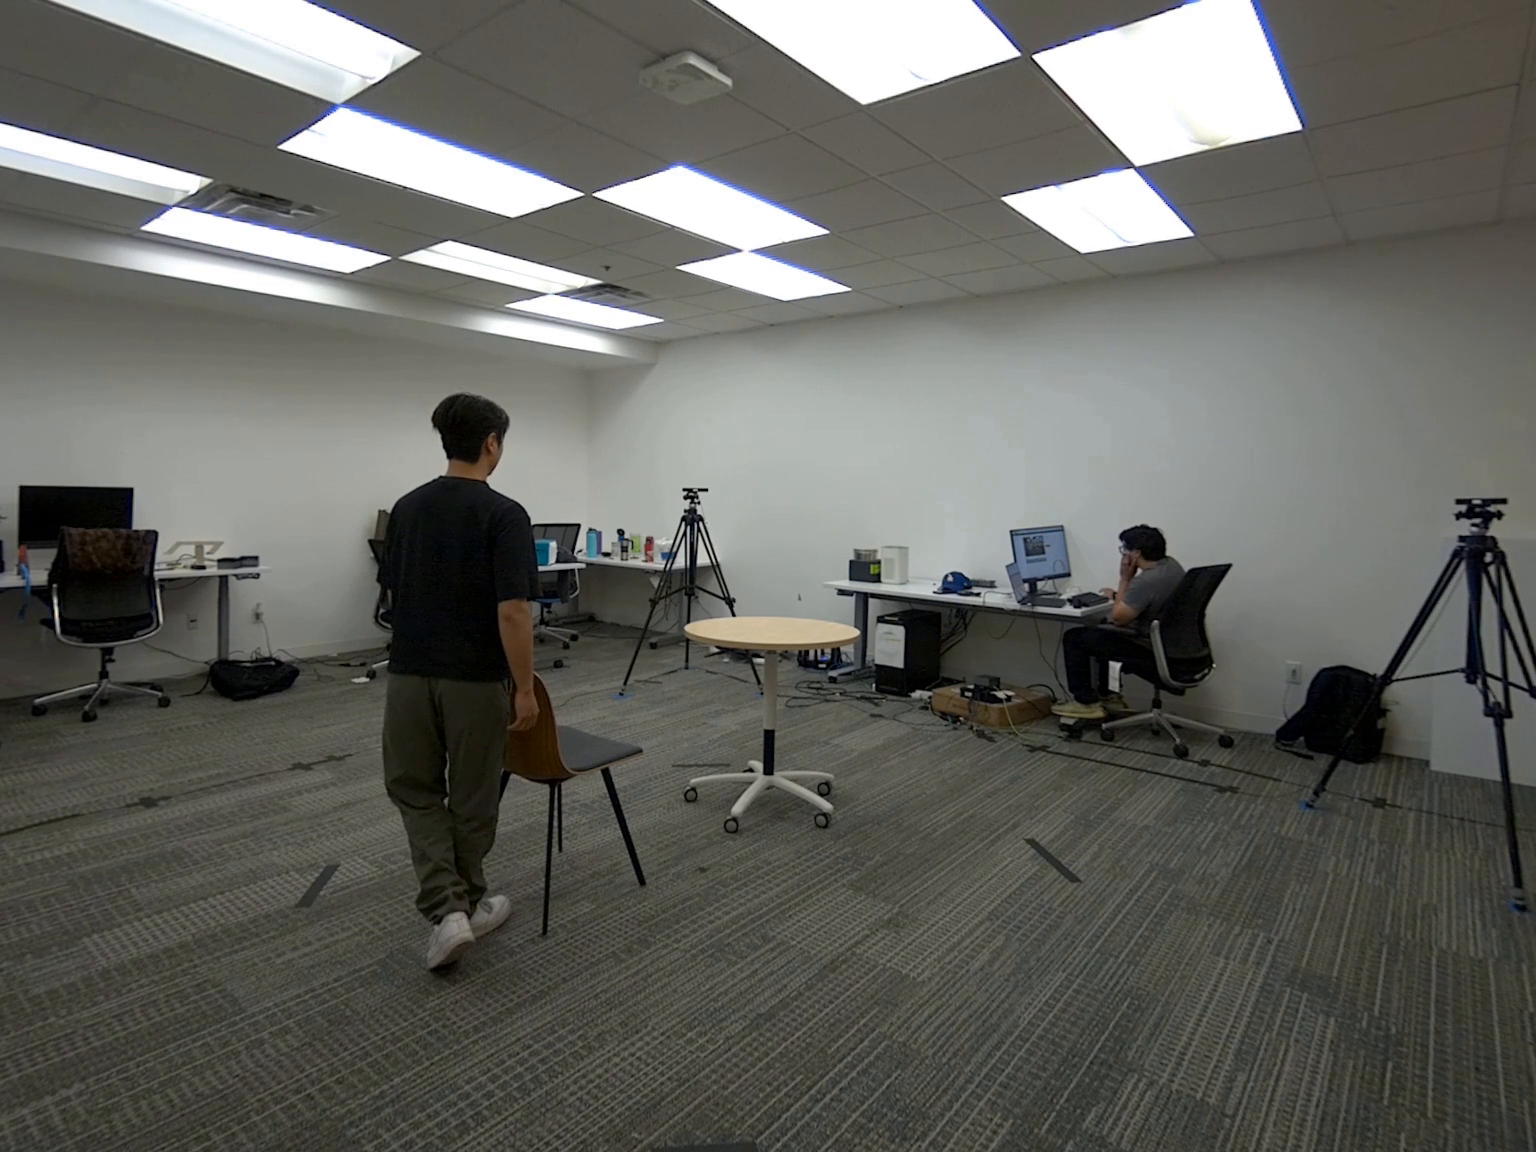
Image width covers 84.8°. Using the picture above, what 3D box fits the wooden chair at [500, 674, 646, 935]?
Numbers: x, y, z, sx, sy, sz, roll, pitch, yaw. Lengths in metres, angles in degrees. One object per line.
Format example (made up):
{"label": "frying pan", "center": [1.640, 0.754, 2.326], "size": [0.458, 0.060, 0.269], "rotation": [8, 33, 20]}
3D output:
{"label": "wooden chair", "center": [-0.737, 0.651, 2.920], "size": [0.493, 0.872, 0.510], "rotation": [3, 8, 37]}
